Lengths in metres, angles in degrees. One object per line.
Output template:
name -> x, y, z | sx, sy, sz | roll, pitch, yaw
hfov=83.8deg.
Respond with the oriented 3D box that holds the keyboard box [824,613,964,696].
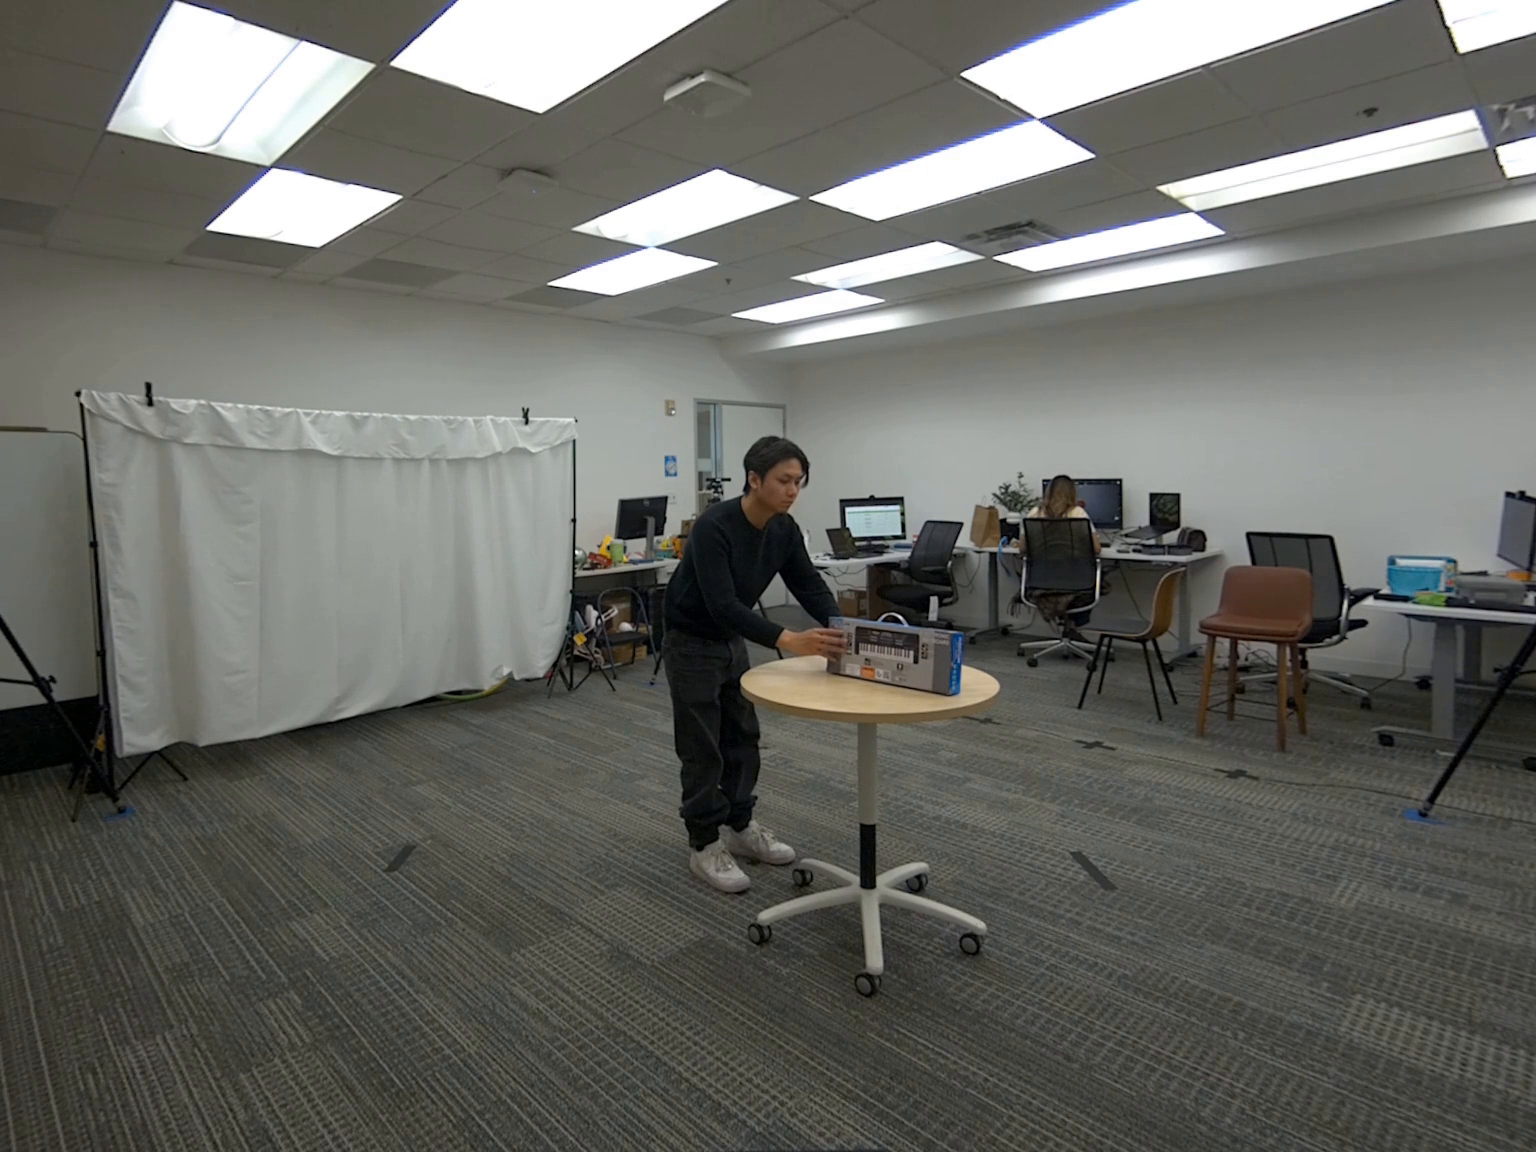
keyboard box -> 0.375, 0.234, 2.525 | 0.450, 0.176, 0.057 | 5, 2, 45
